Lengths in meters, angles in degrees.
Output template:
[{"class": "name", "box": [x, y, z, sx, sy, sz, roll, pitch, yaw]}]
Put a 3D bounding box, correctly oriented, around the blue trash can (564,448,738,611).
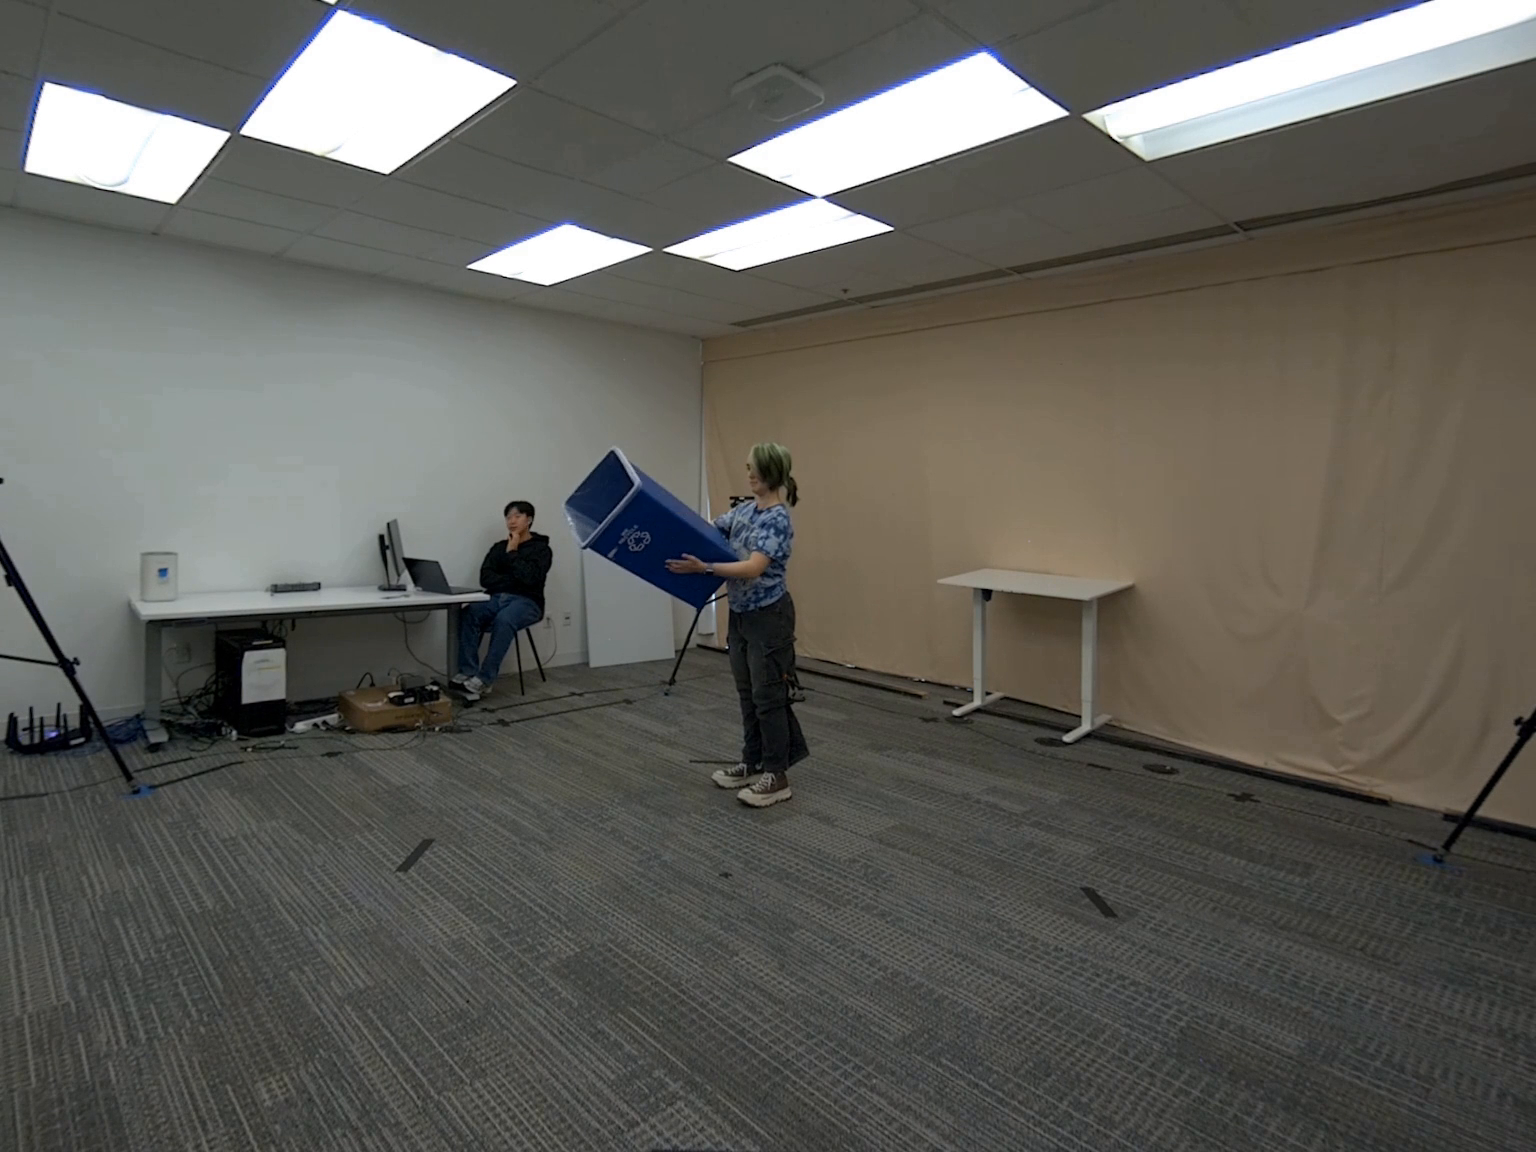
[{"class": "blue trash can", "box": [-0.503, -0.190, 3.713, 0.691, 0.374, 0.390, 35, 12, -41]}]
